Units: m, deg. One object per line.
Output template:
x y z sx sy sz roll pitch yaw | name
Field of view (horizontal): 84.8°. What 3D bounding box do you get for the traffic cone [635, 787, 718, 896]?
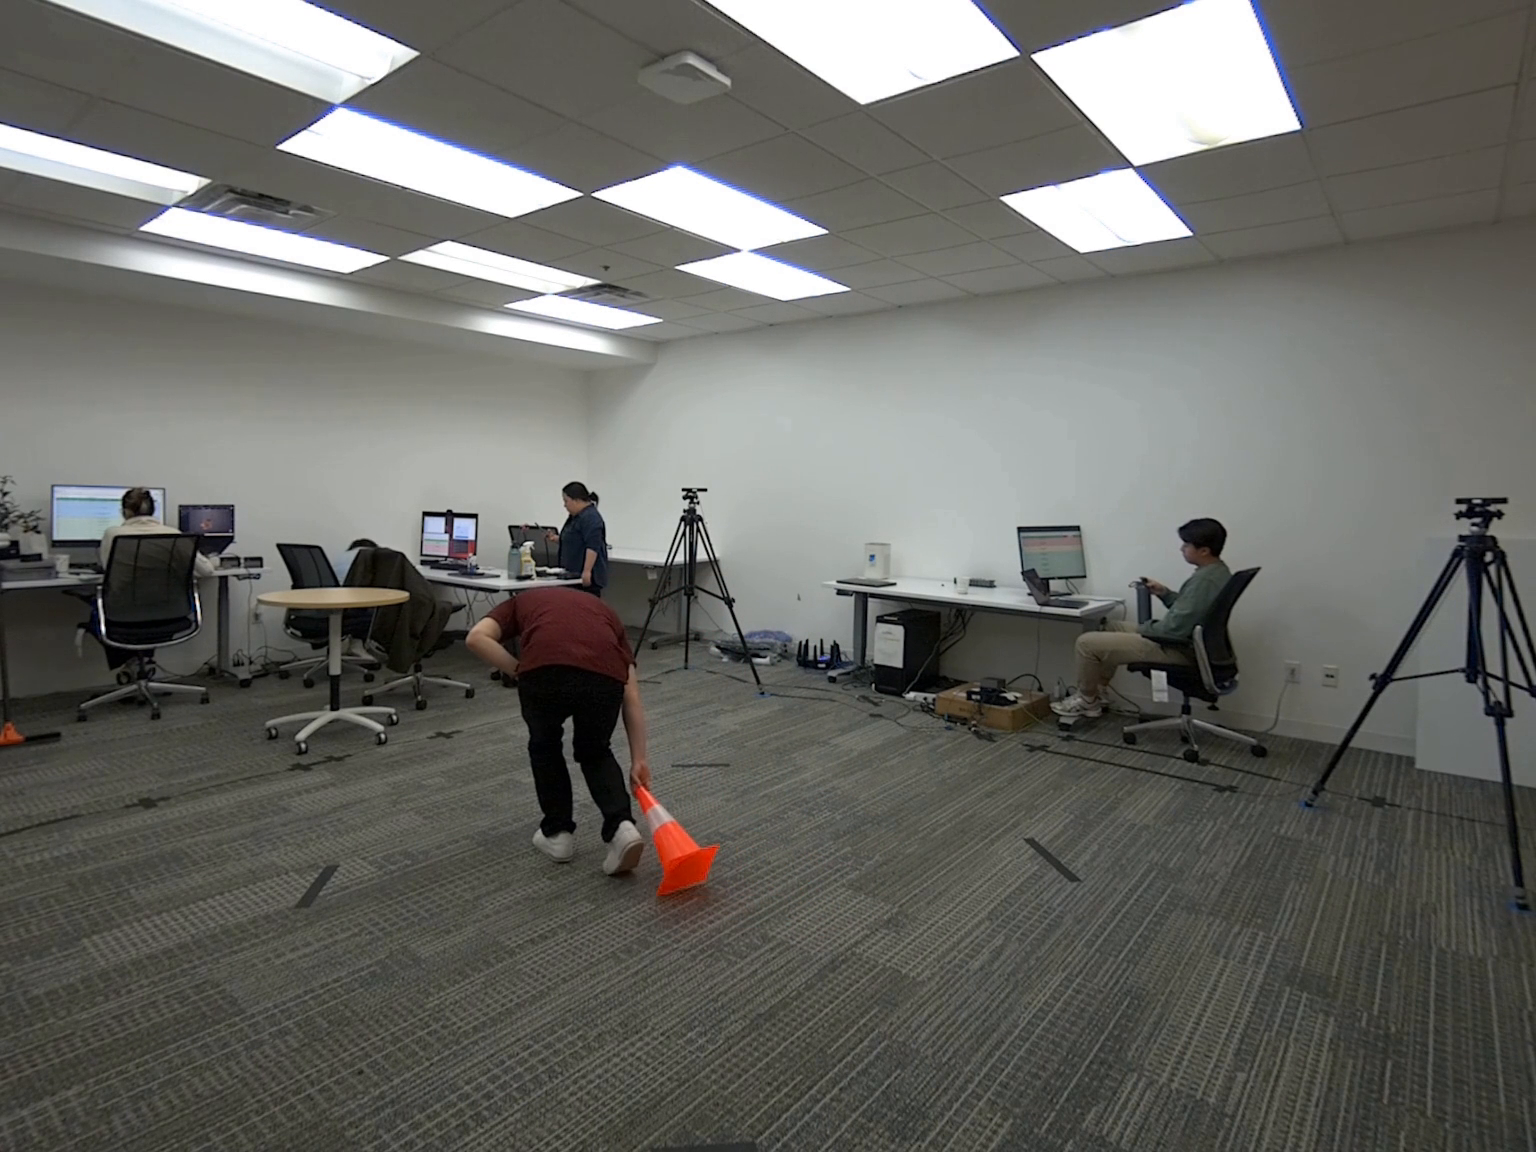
-0.390 0.895 3.013 0.198 0.201 0.400 1 32 -41 | traffic cone
